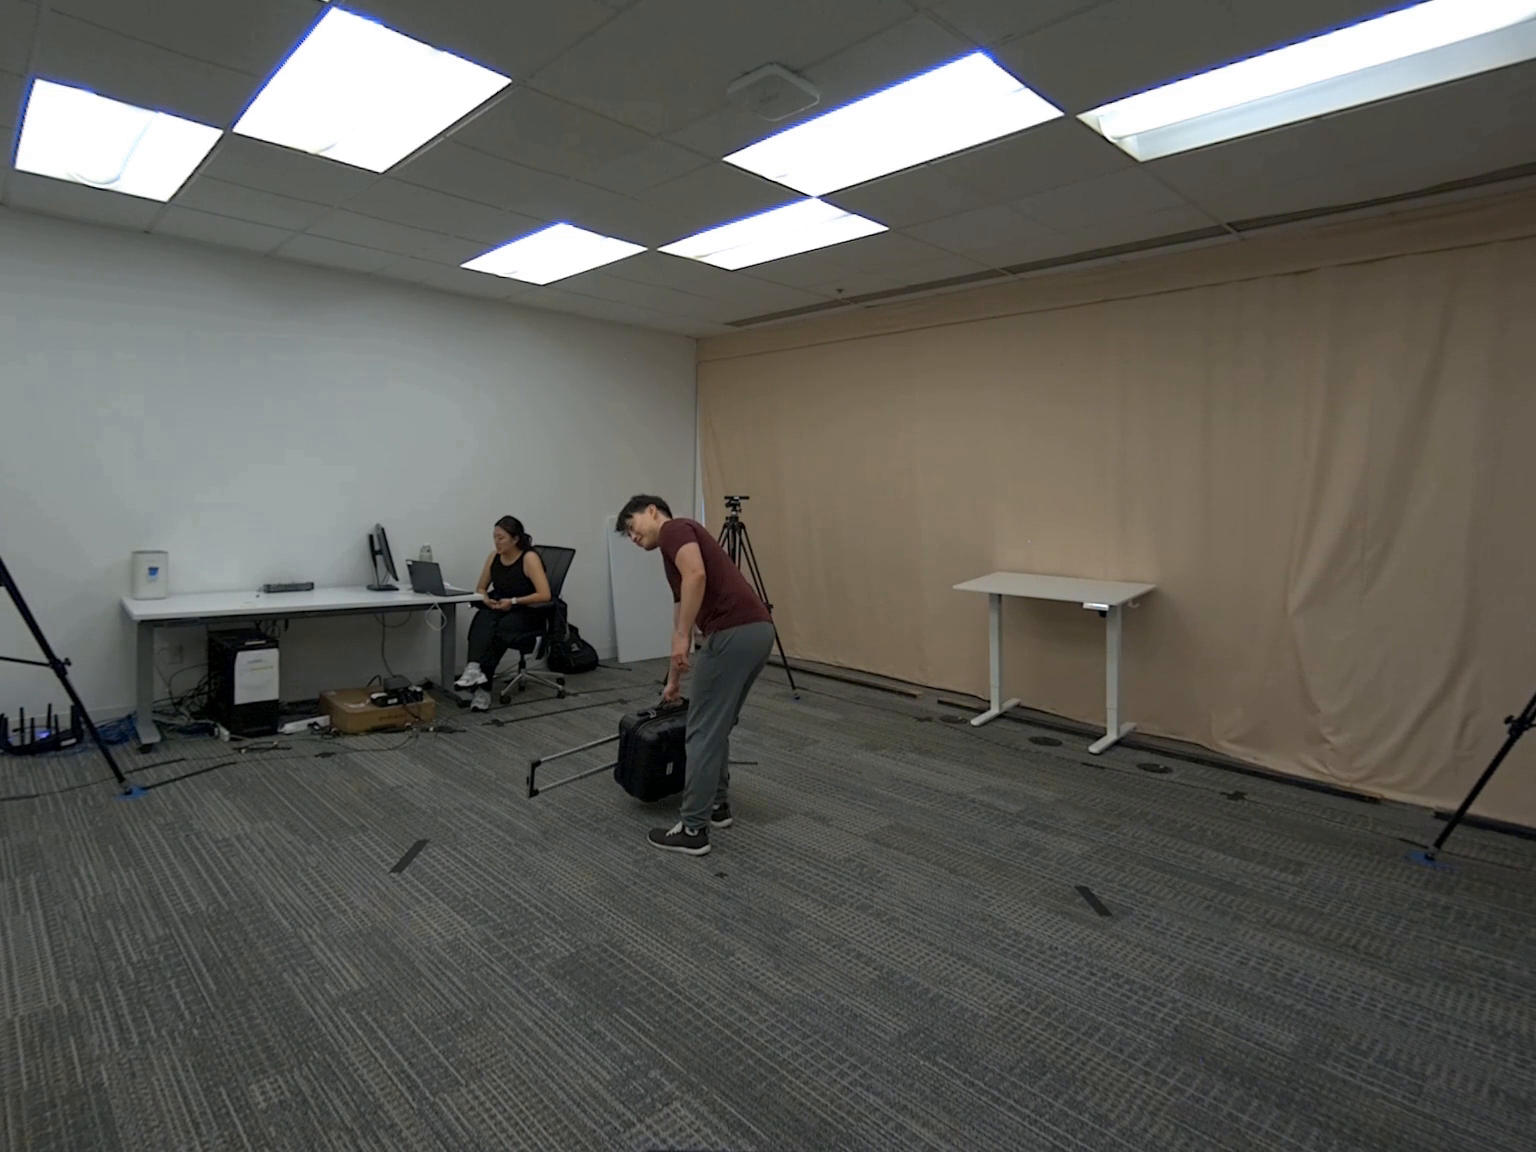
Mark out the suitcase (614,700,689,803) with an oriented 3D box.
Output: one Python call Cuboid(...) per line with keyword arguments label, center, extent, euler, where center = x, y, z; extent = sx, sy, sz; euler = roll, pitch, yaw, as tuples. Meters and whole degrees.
Cuboid(label="suitcase", center=(-0.566, 0.792, 3.680), extent=(0.264, 0.381, 0.958), euler=(19, 17, 38))
